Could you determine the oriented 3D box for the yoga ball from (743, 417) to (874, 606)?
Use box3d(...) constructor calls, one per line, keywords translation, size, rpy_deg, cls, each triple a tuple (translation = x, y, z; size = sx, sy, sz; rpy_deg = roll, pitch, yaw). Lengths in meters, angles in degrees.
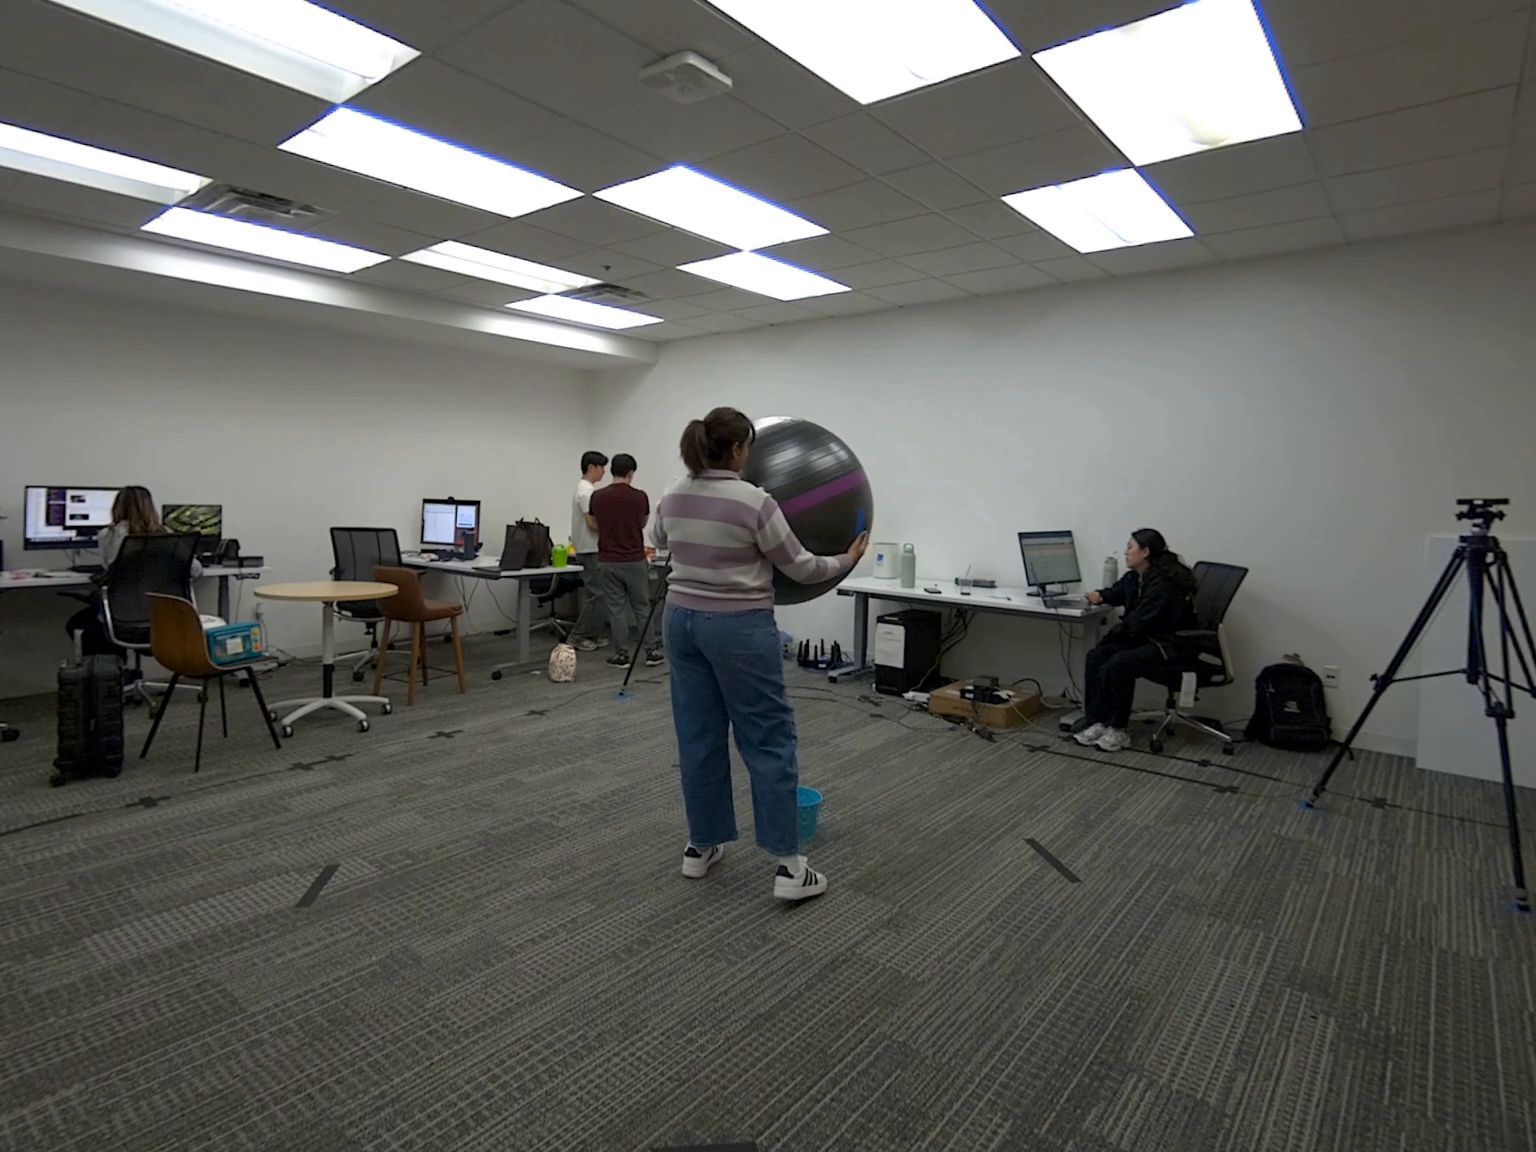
box3d(translation=(0.052, -0.260, 3.451), size=(0.757, 0.756, 0.761), rpy_deg=(1, 4, -2), cls="yoga ball")
